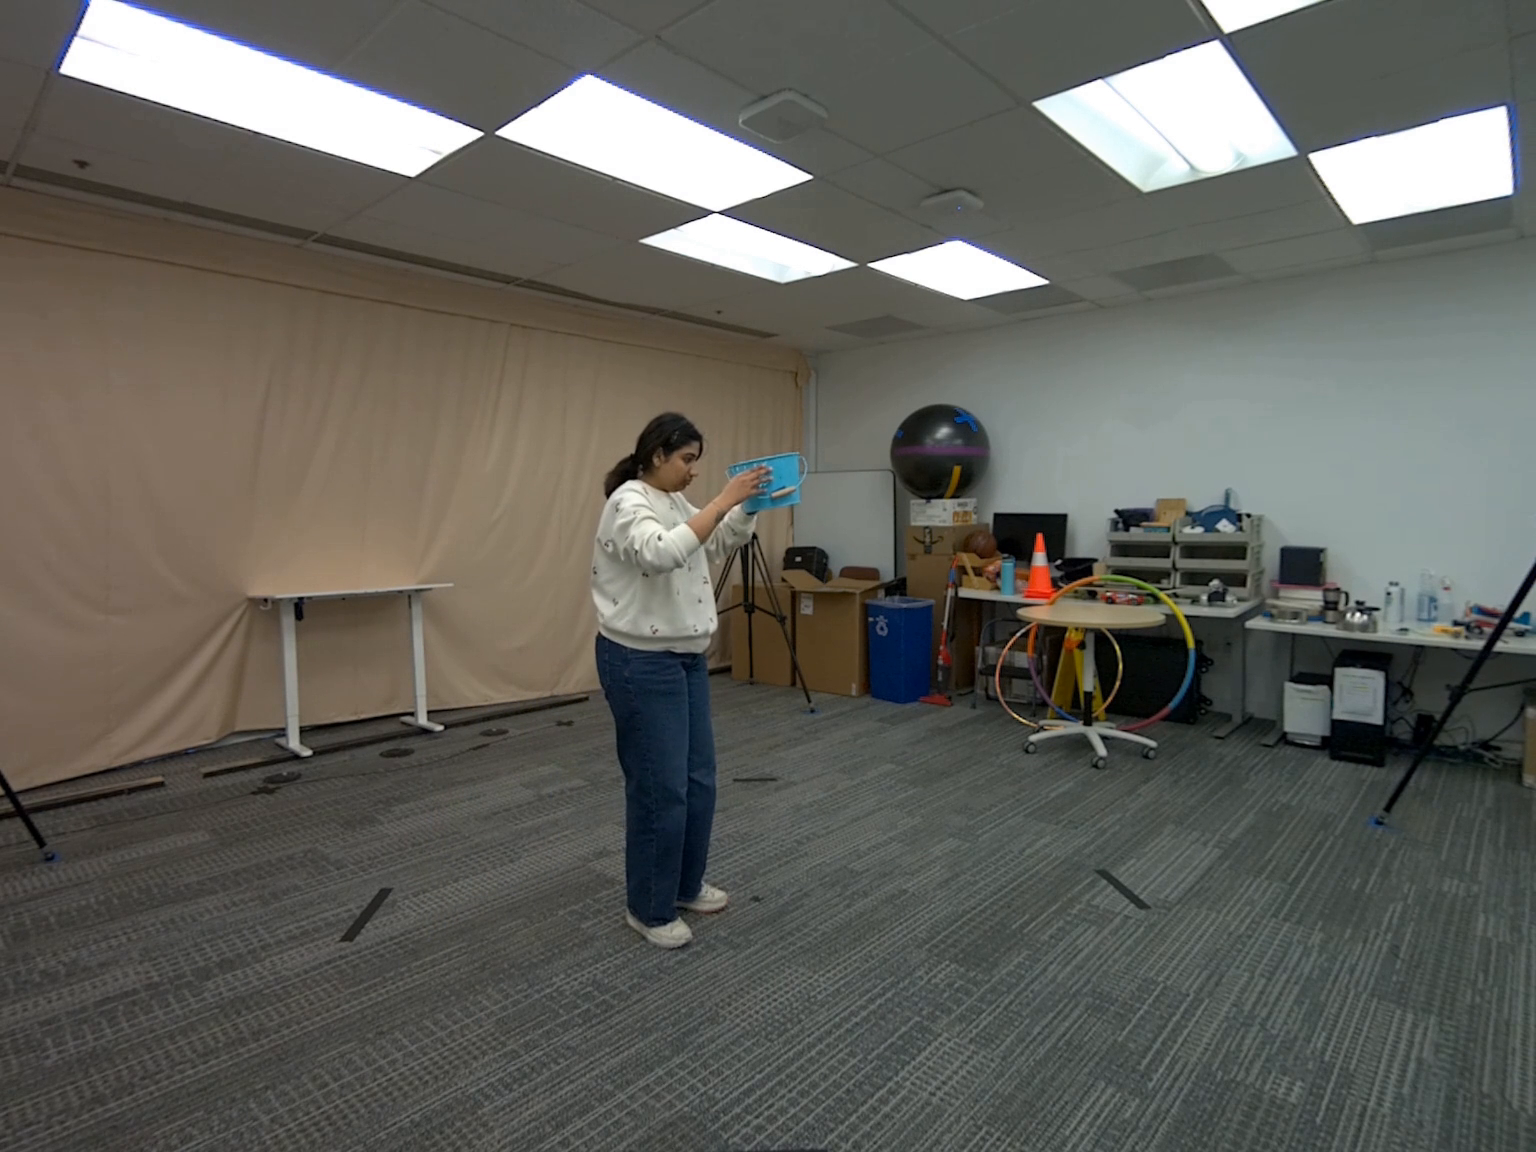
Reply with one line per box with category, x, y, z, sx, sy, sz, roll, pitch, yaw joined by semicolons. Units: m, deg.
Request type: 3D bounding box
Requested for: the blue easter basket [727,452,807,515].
blue easter basket;-0.001;-0.284;2.621;0.243;0.155;0.244;-11;3;-1
